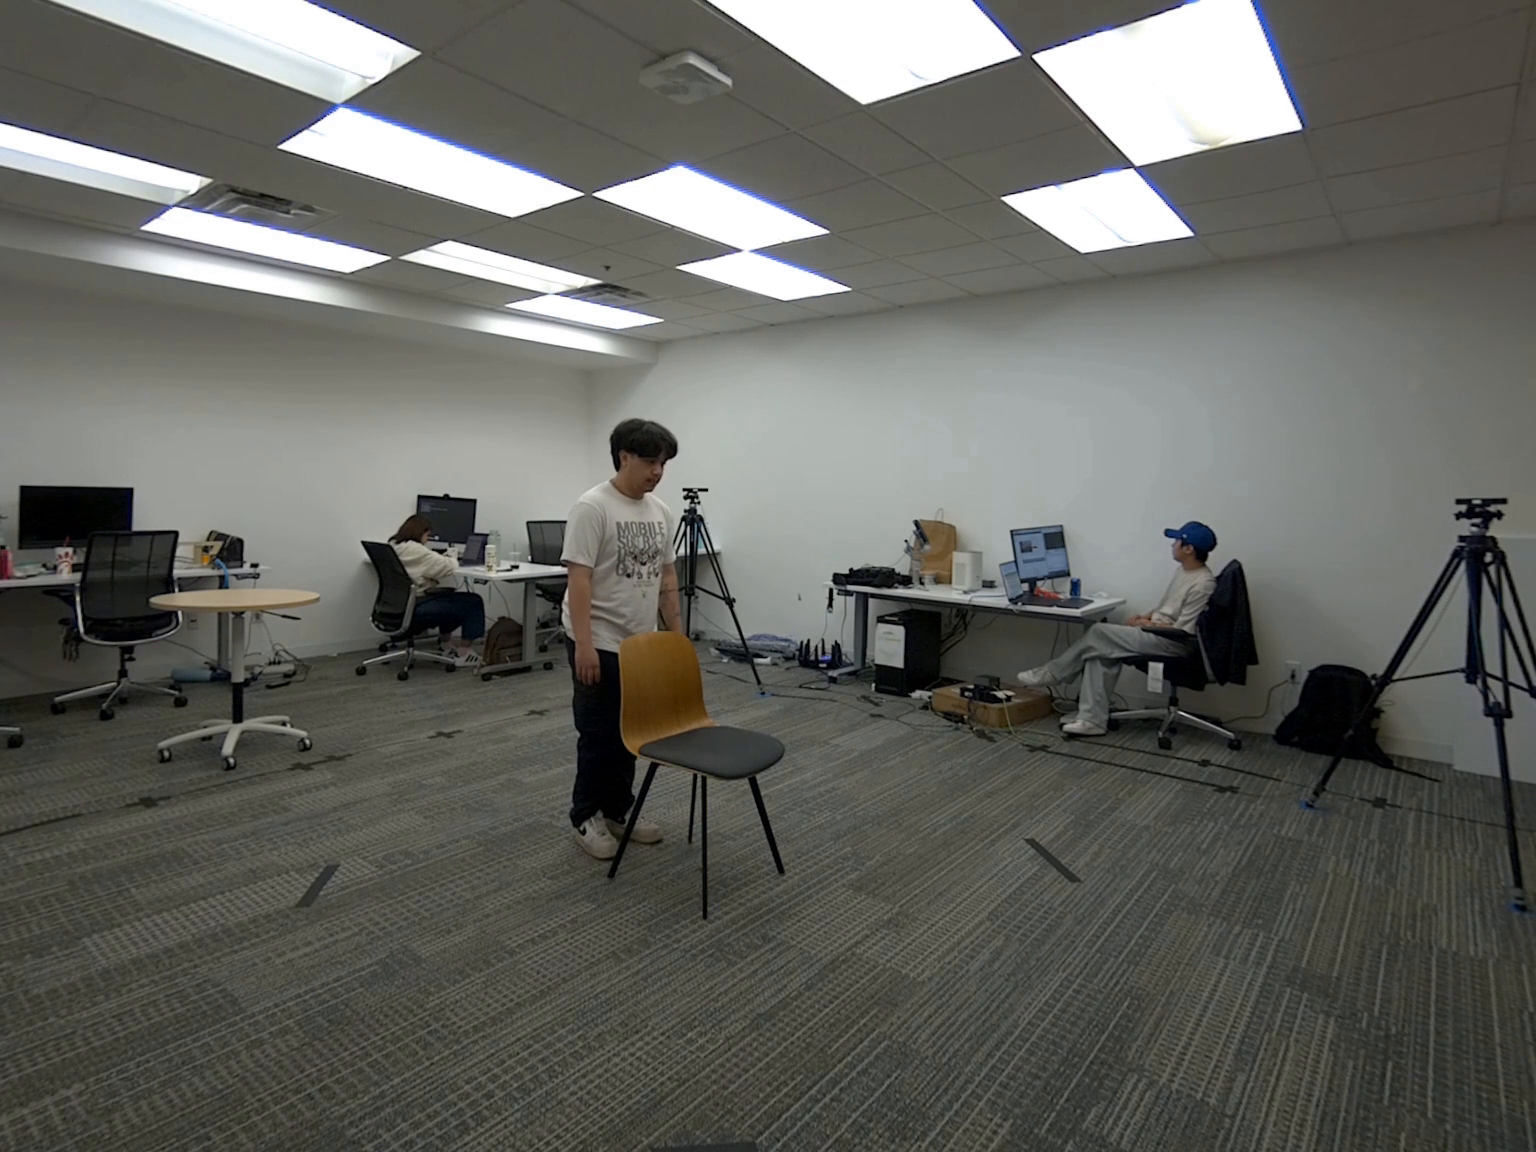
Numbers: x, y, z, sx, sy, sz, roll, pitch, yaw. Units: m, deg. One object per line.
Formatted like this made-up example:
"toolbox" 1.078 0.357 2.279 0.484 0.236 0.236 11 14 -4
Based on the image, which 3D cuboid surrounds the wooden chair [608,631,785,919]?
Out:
"wooden chair" -0.243 0.650 3.018 0.539 0.878 0.464 -2 0 37
